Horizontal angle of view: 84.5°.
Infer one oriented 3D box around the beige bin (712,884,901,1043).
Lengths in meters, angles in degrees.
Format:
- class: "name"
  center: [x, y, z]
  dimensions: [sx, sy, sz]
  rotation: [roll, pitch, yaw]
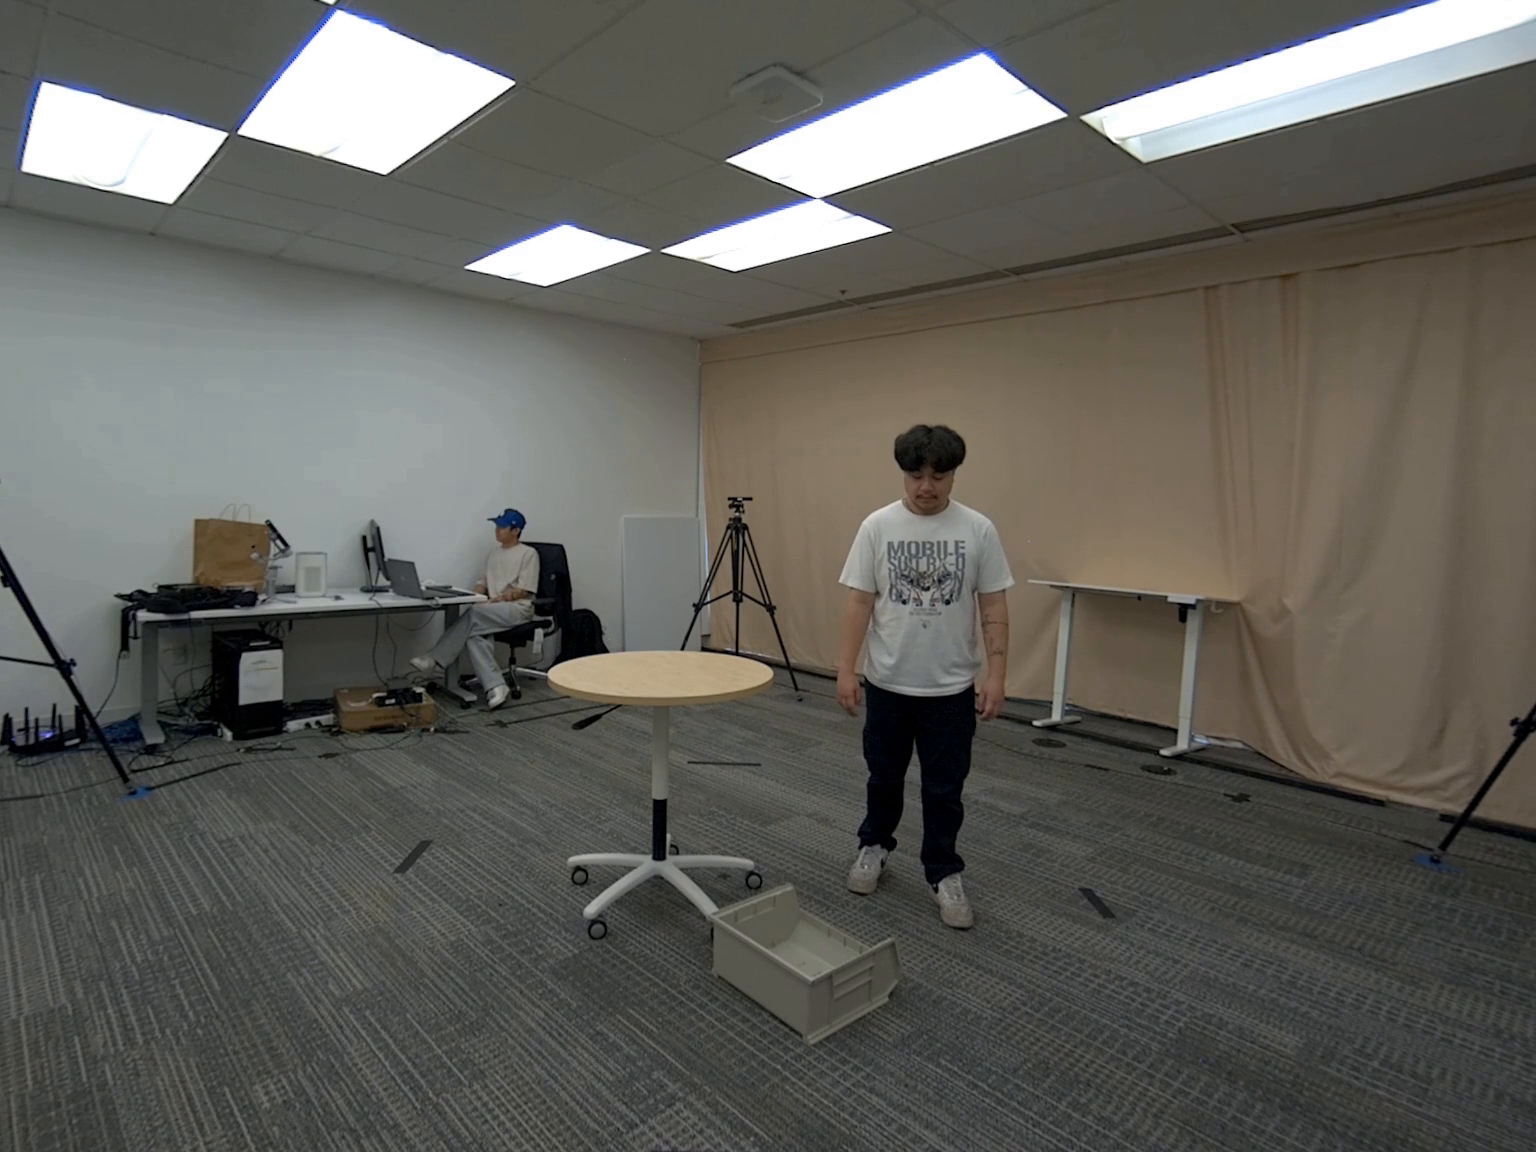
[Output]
- class: "beige bin"
  center: [0.096, 1.089, 2.414]
  dimensions: [0.369, 0.188, 0.433]
  rotation: [-4, 8, -42]
